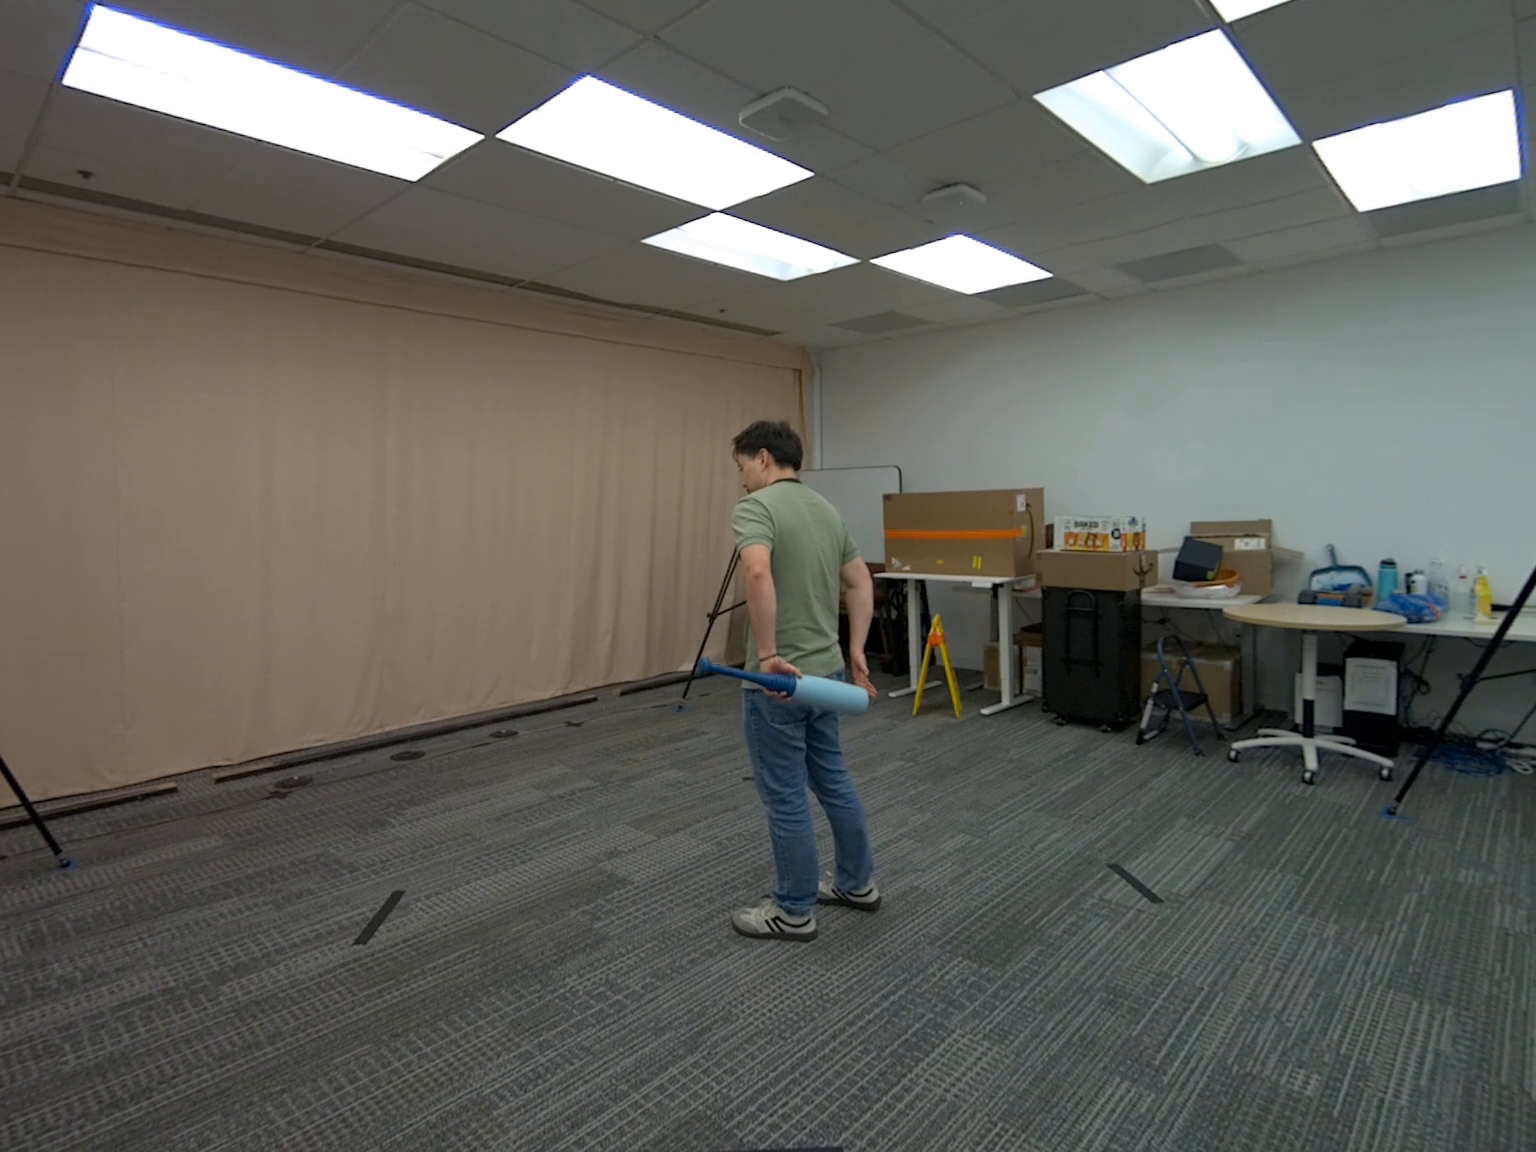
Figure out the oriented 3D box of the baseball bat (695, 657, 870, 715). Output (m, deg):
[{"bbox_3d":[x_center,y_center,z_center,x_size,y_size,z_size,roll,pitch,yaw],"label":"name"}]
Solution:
[{"bbox_3d":[0.038,0.313,2.393,0.529,0.089,0.091,13,-2,-23],"label":"baseball bat"}]
